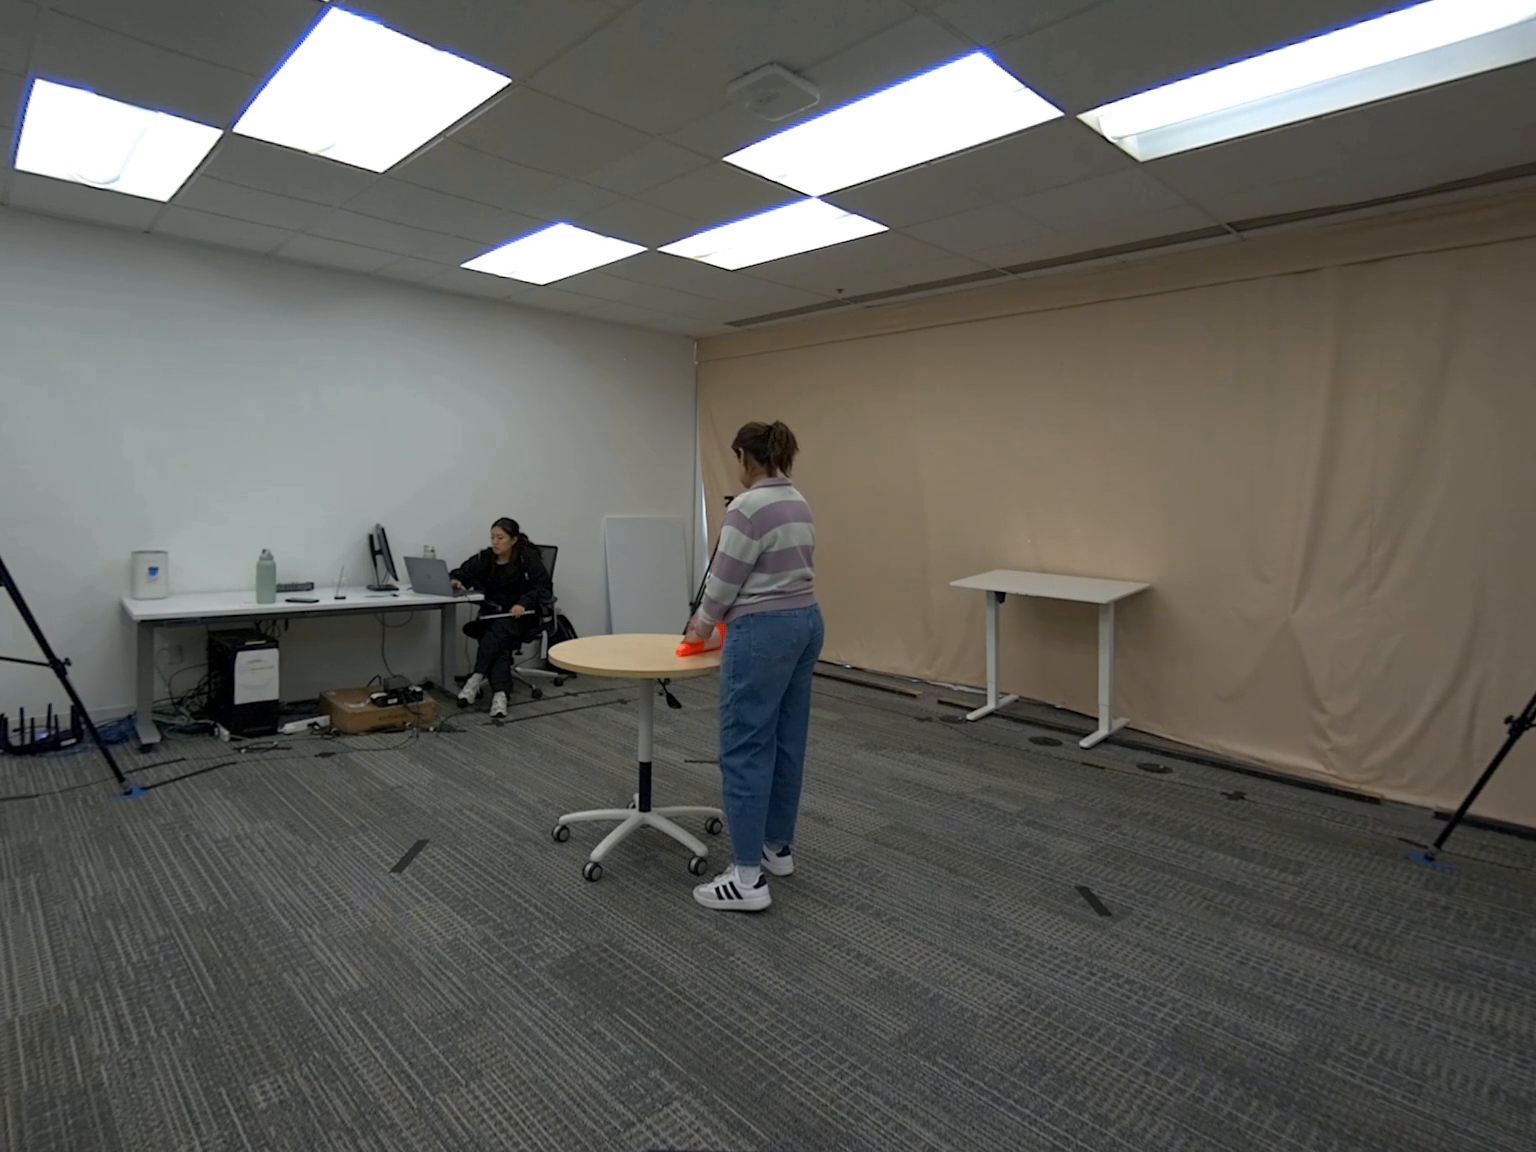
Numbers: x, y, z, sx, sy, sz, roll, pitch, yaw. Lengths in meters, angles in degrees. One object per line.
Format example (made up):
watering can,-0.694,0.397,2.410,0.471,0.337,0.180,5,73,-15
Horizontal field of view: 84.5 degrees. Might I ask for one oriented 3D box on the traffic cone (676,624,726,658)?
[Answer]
traffic cone,-0.241,0.253,3.346,0.207,0.204,0.379,41,33,16
